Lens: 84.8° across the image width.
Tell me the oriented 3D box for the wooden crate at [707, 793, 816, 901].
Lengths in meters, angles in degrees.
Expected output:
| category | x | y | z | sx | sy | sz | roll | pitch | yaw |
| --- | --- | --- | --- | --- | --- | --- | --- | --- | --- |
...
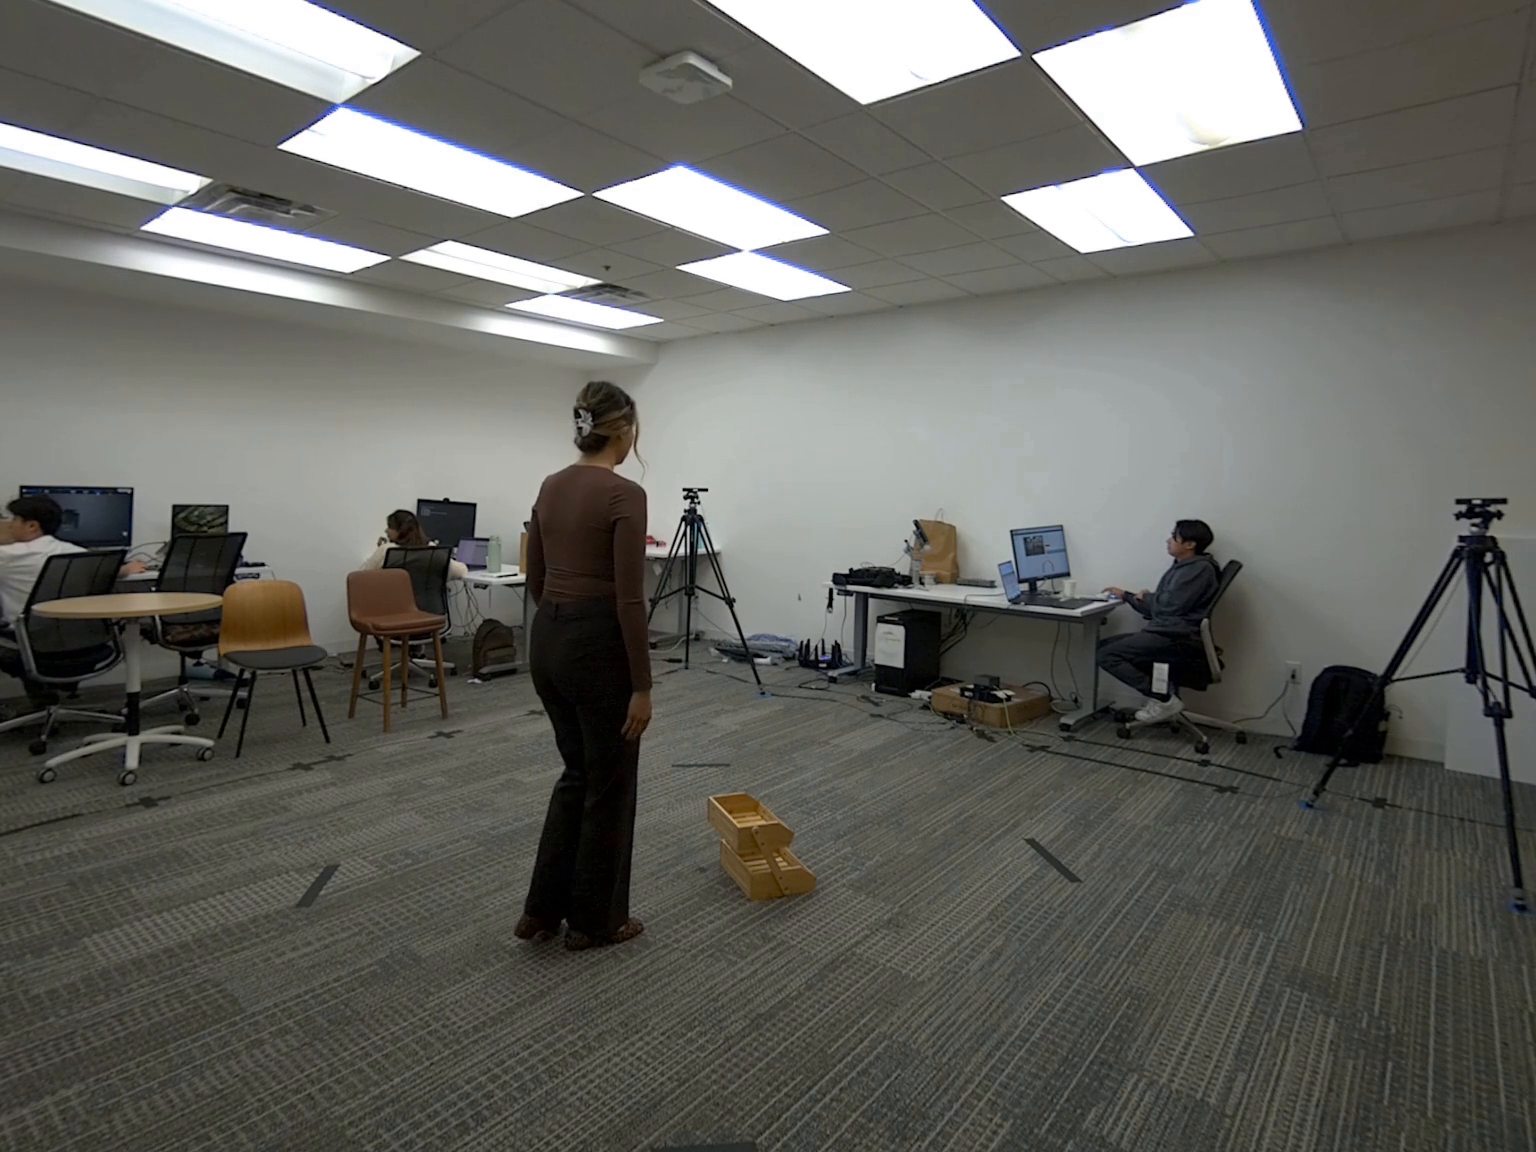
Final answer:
| category | x | y | z | sx | sy | sz | roll | pitch | yaw |
| --- | --- | --- | --- | --- | --- | --- | --- | --- | --- |
| wooden crate | -0.028 | 0.946 | 3.041 | 0.295 | 0.272 | 0.333 | -1 | 5 | -23 |
